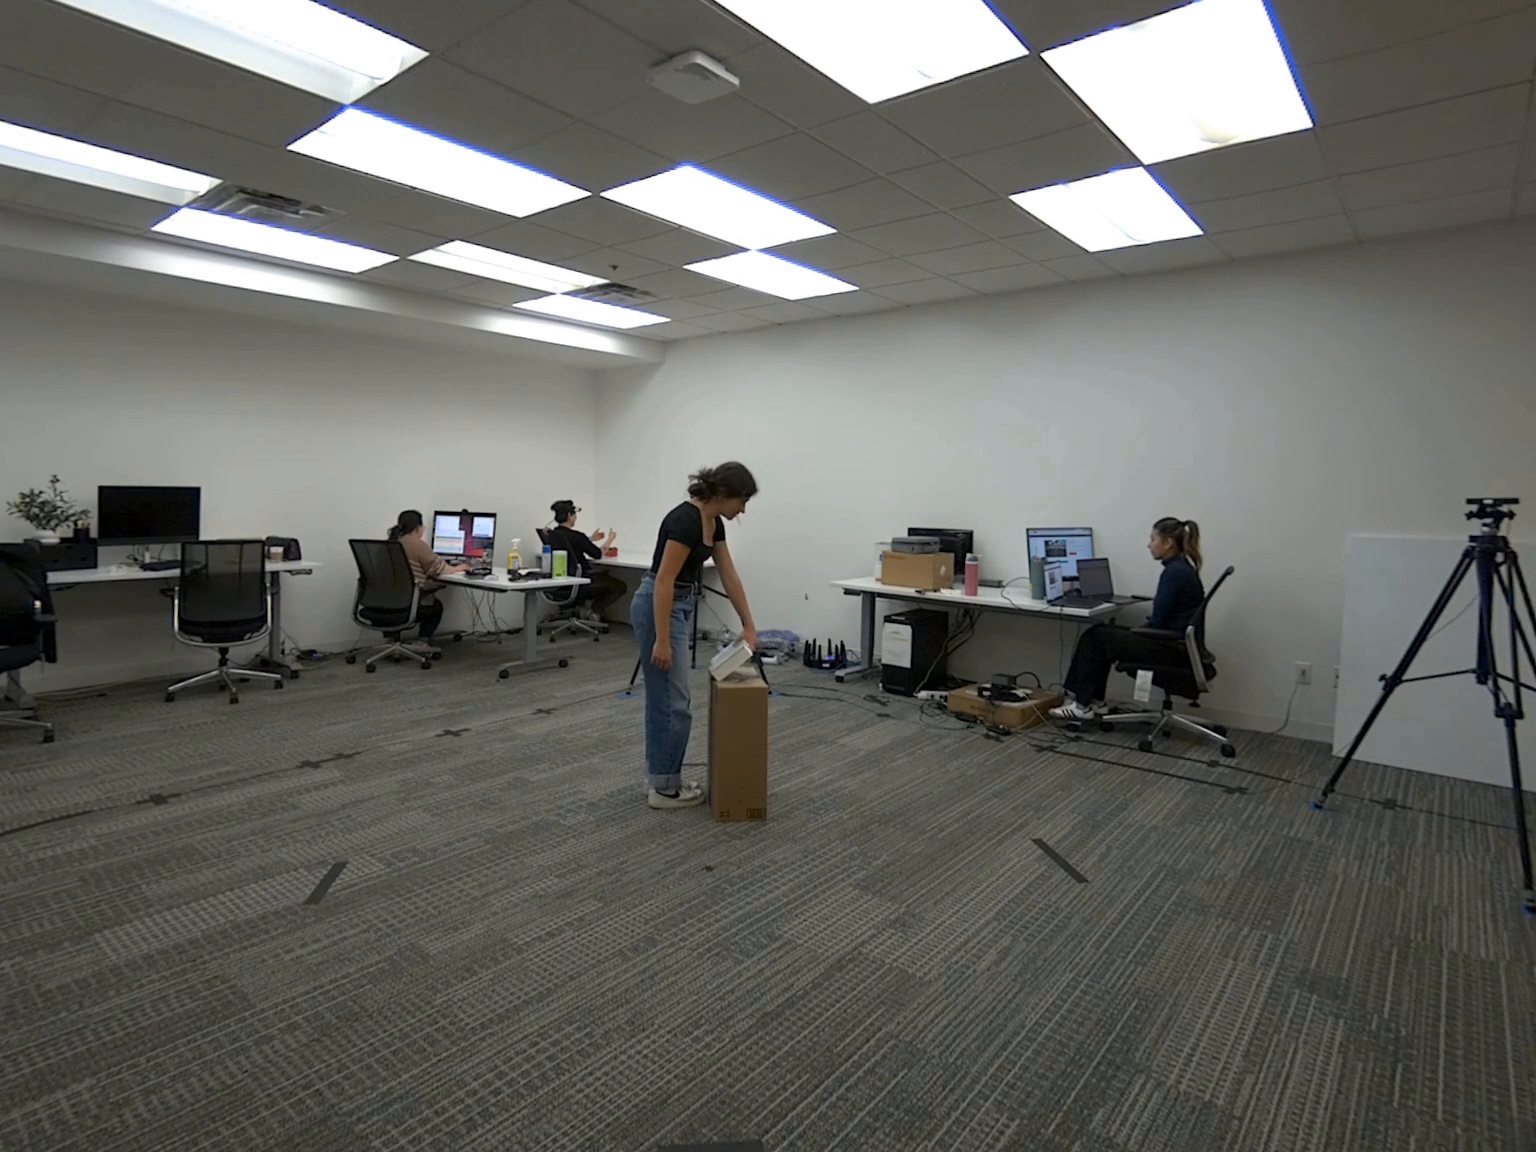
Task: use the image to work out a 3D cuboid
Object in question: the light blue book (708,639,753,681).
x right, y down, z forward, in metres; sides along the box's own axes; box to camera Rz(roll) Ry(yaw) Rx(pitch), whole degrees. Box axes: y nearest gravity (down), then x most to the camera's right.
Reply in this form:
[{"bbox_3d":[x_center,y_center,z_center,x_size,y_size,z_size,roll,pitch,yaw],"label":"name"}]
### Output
[{"bbox_3d":[-0.178,0.366,3.774,0.191,0.058,0.263,-40,7,1],"label":"light blue book"}]
